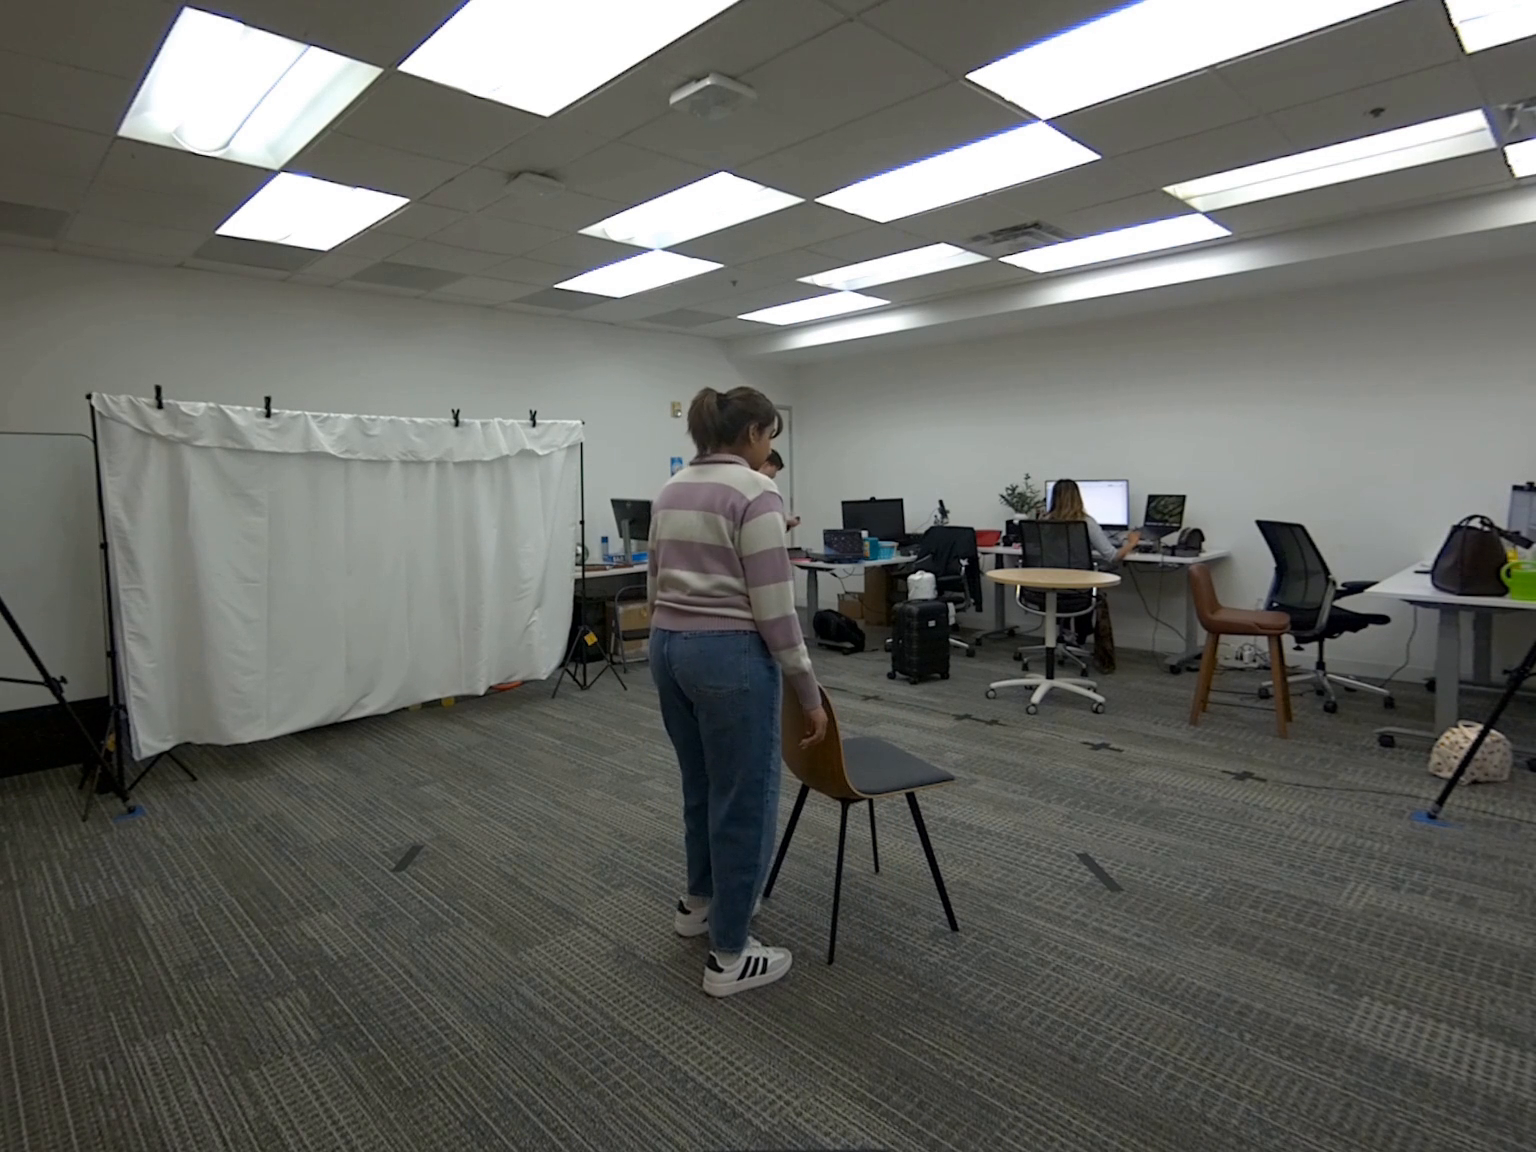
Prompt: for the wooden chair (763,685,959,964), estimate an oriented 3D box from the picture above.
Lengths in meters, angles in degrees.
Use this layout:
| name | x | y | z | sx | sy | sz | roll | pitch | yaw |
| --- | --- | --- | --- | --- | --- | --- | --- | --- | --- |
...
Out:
| name | x | y | z | sx | sy | sz | roll | pitch | yaw |
| --- | --- | --- | --- | --- | --- | --- | --- | --- | --- |
| wooden chair | 0.288 | 0.659 | 2.717 | 0.513 | 0.873 | 0.489 | -7 | 6 | -23 |
